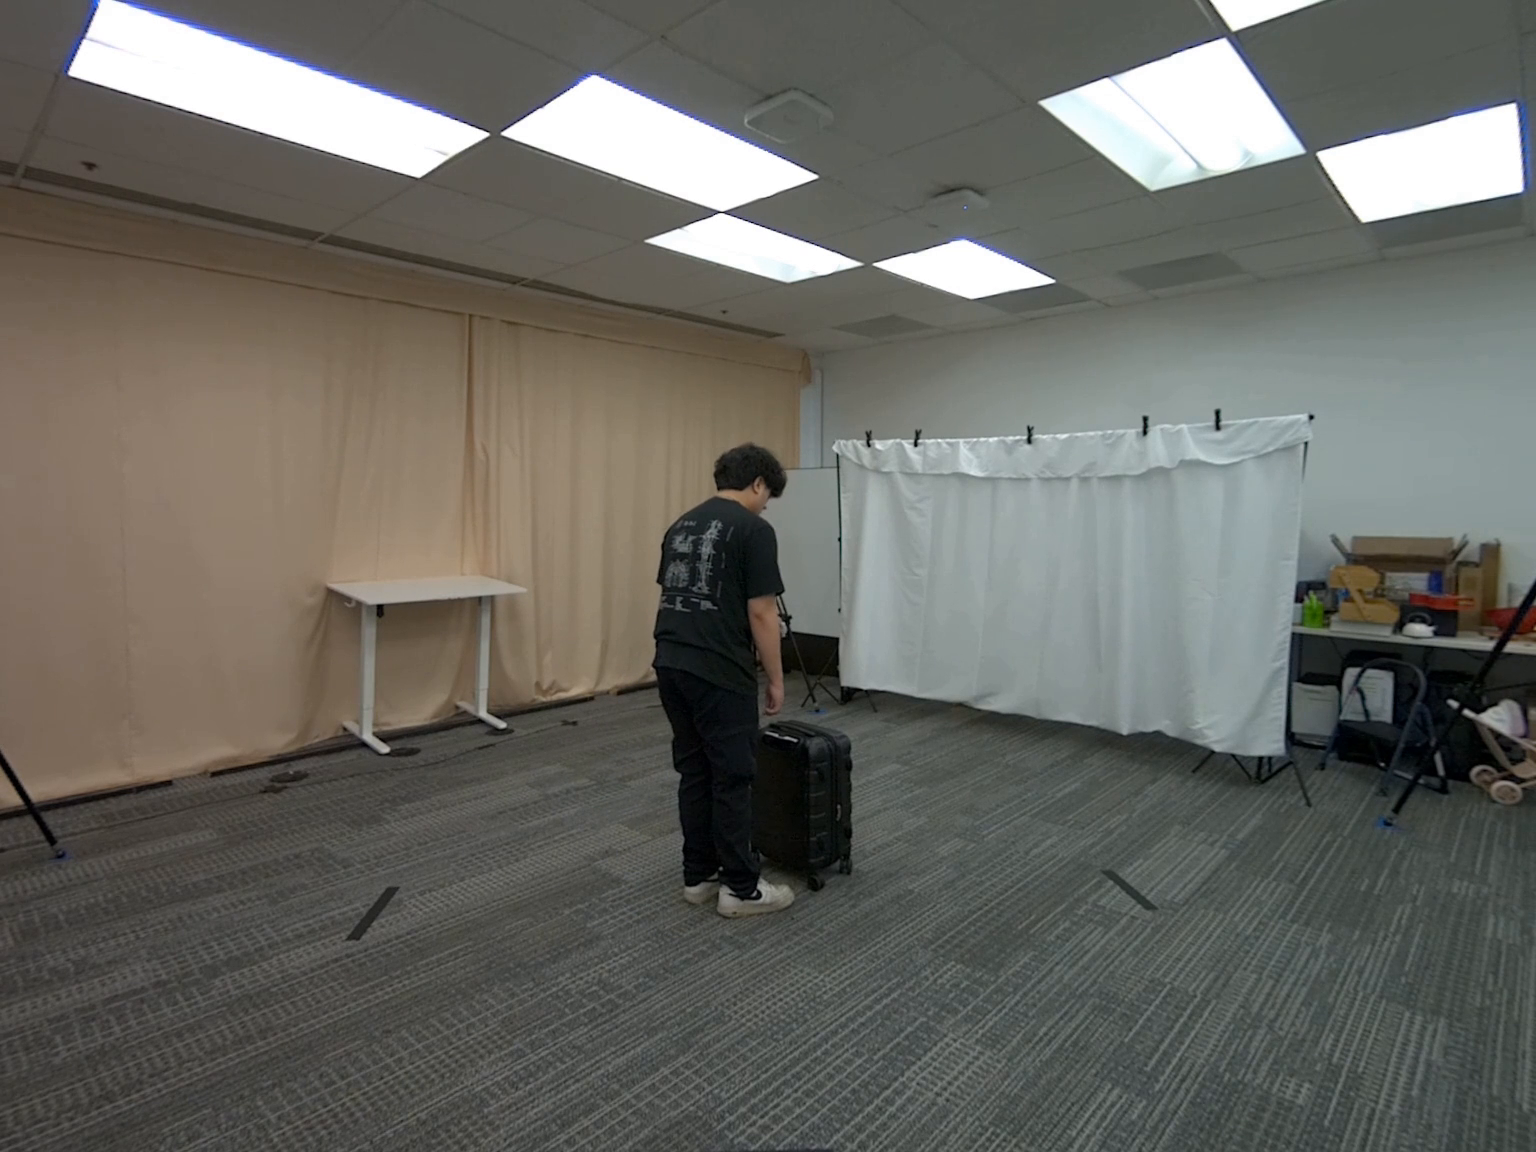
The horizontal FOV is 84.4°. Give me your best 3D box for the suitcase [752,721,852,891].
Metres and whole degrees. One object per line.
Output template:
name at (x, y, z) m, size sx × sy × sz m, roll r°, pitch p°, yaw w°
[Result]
suitcase at (0.132, 0.851, 3.251) m, size 0.240 × 0.549 × 0.388 m, roll -1°, pitch 3°, yaw -44°
